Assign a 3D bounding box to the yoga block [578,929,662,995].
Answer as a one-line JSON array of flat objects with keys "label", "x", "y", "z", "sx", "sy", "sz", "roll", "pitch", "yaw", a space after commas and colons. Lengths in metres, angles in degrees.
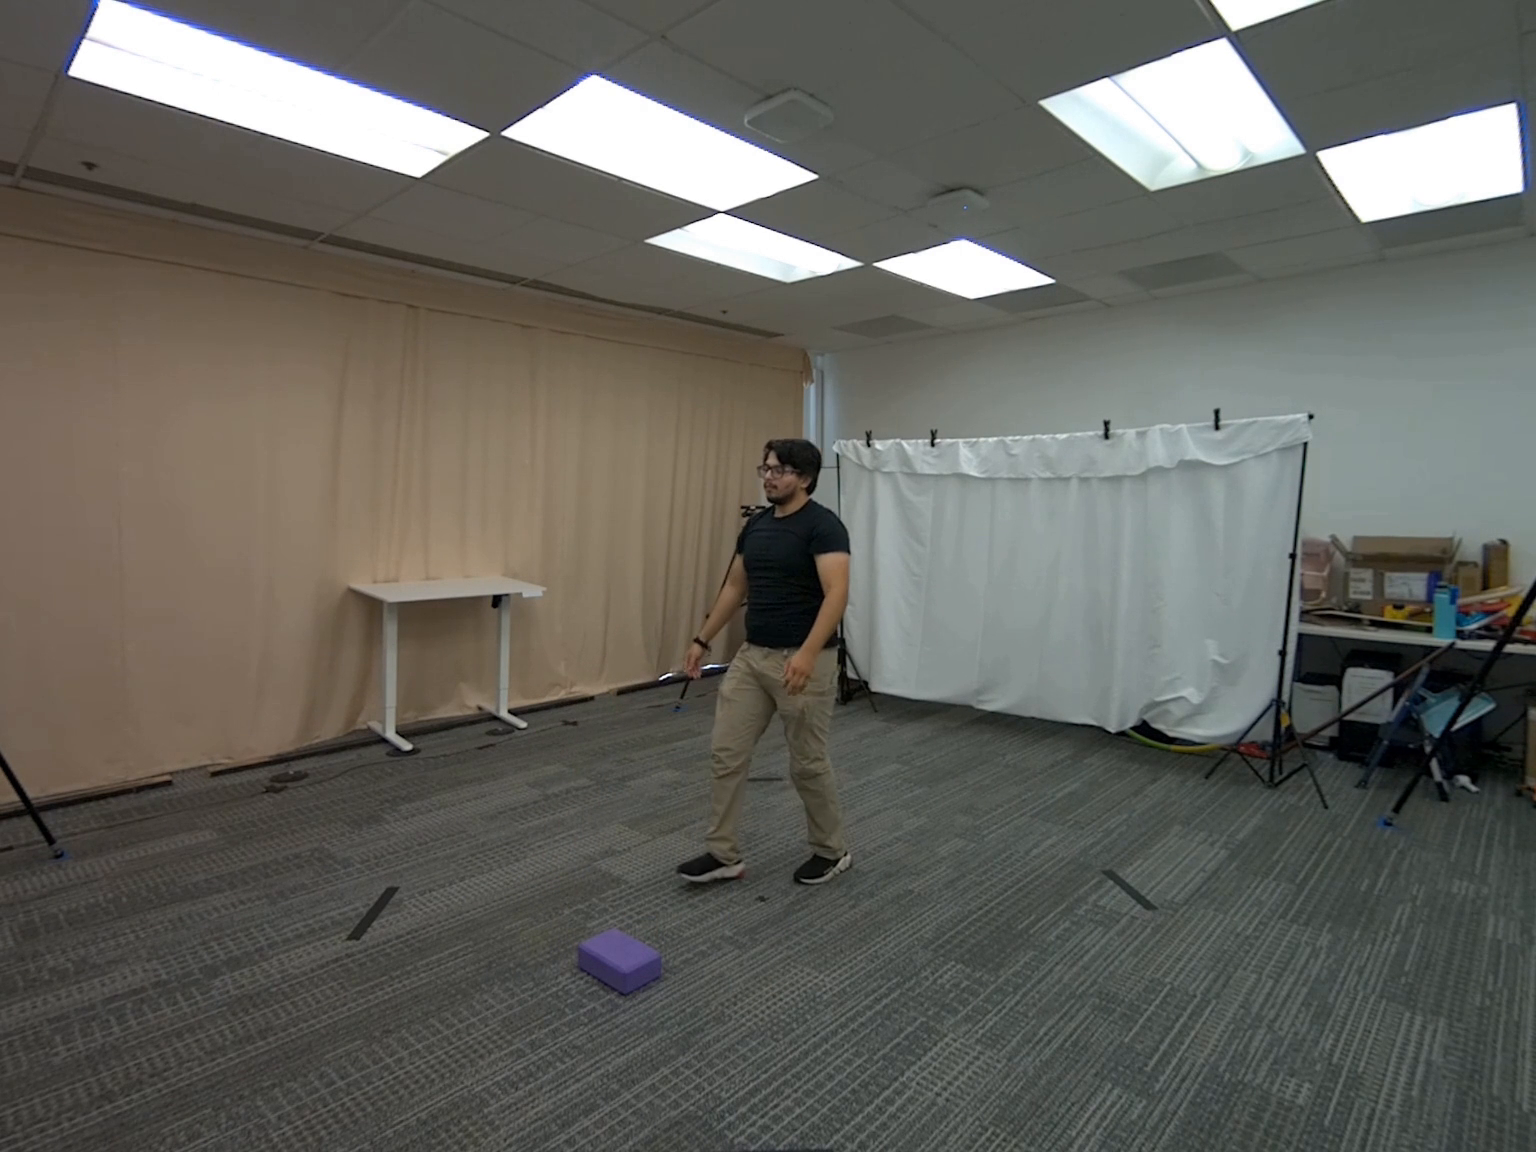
[{"label": "yoga block", "x": -0.443, "y": 1.147, "z": 2.511, "sx": 0.237, "sy": 0.076, "sz": 0.144, "roll": 4, "pitch": 6, "yaw": 42}]
